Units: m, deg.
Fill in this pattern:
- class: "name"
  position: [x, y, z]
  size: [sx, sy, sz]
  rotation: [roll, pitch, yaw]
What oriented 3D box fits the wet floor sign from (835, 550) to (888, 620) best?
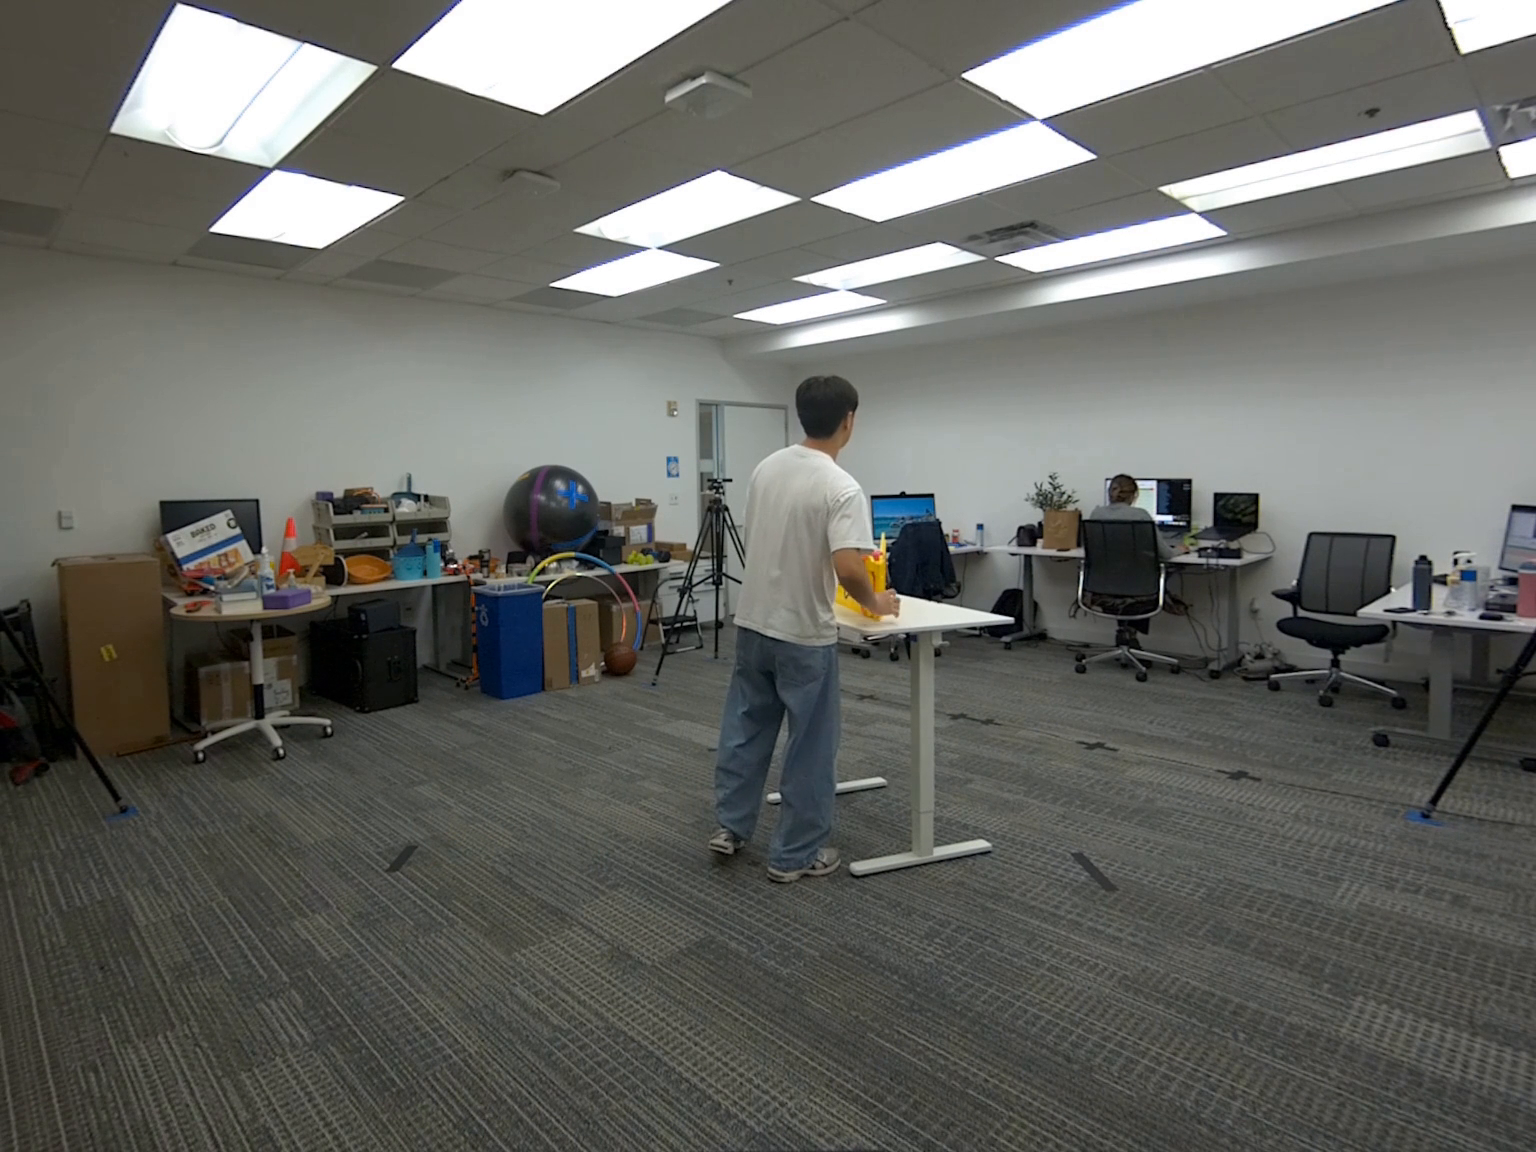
- class: "wet floor sign"
  position: [0.388, 0.005, 3.327]
  size: [0.290, 0.280, 0.650]
  rotation: [-1, 8, -1]
